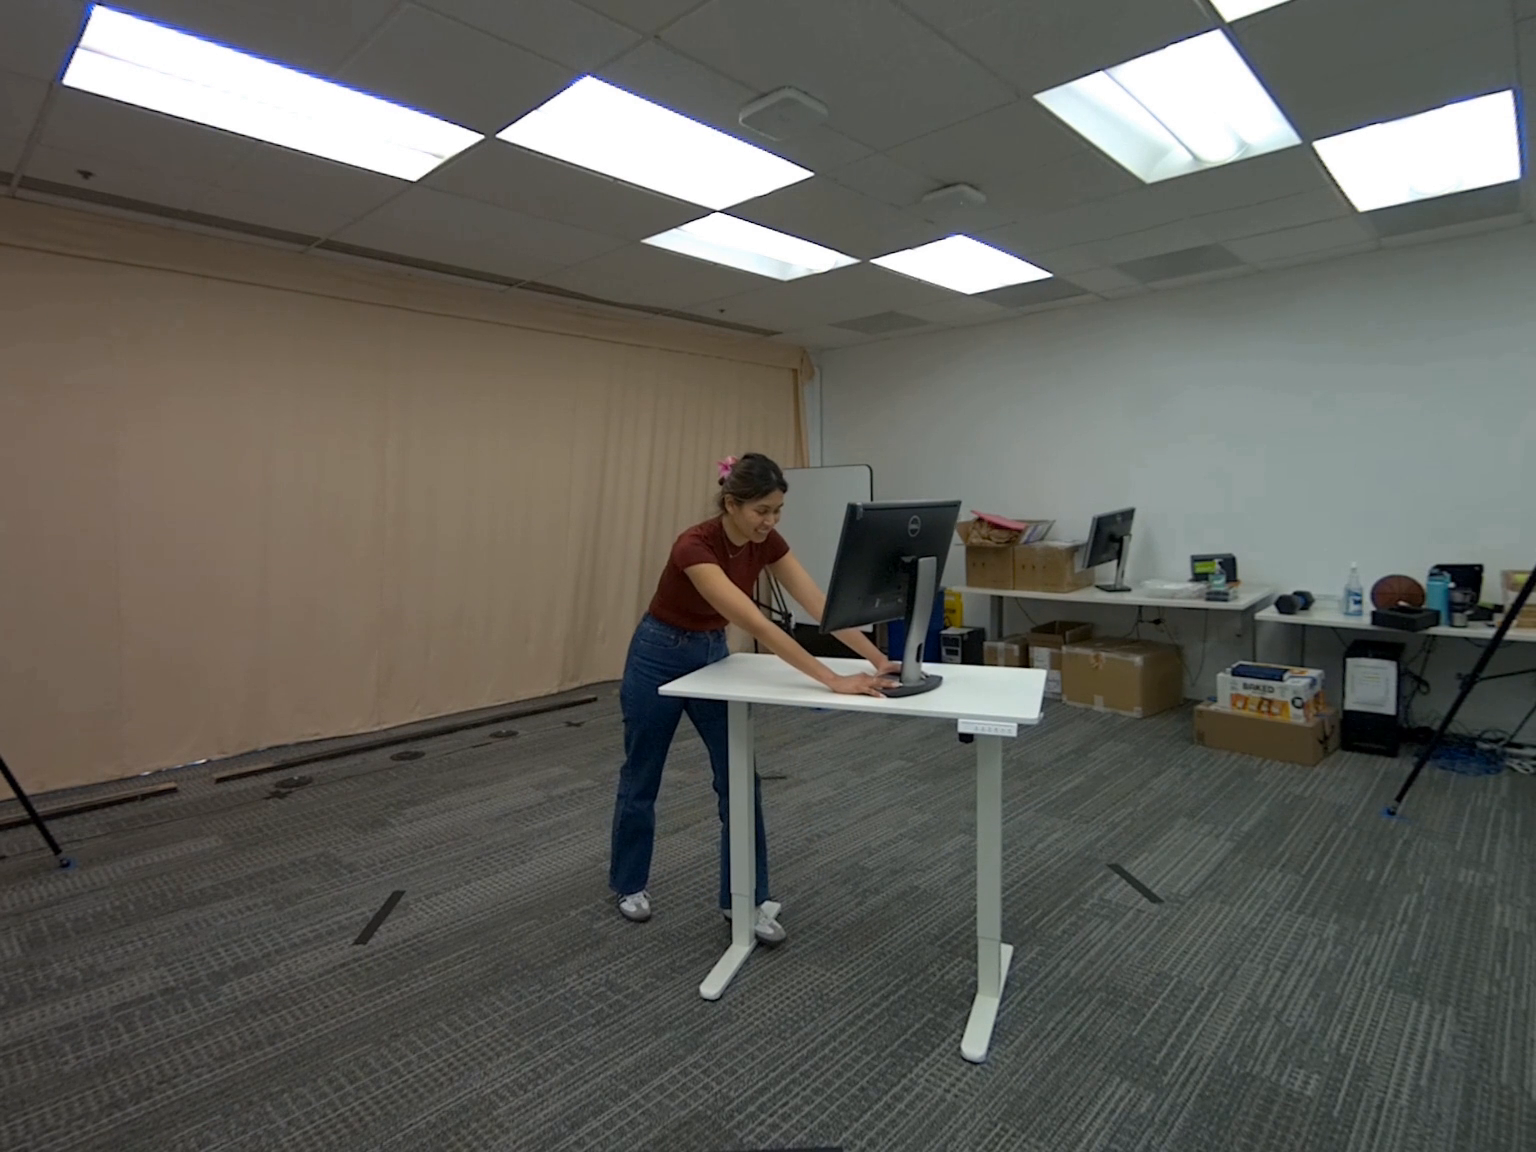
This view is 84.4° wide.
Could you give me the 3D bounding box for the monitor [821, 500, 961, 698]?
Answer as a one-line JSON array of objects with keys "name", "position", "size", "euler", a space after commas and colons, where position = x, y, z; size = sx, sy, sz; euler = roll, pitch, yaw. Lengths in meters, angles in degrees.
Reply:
[{"name": "monitor", "position": [0.378, 0.056, 2.315], "size": [0.193, 0.521, 0.523], "euler": [5, 8, 38]}]
